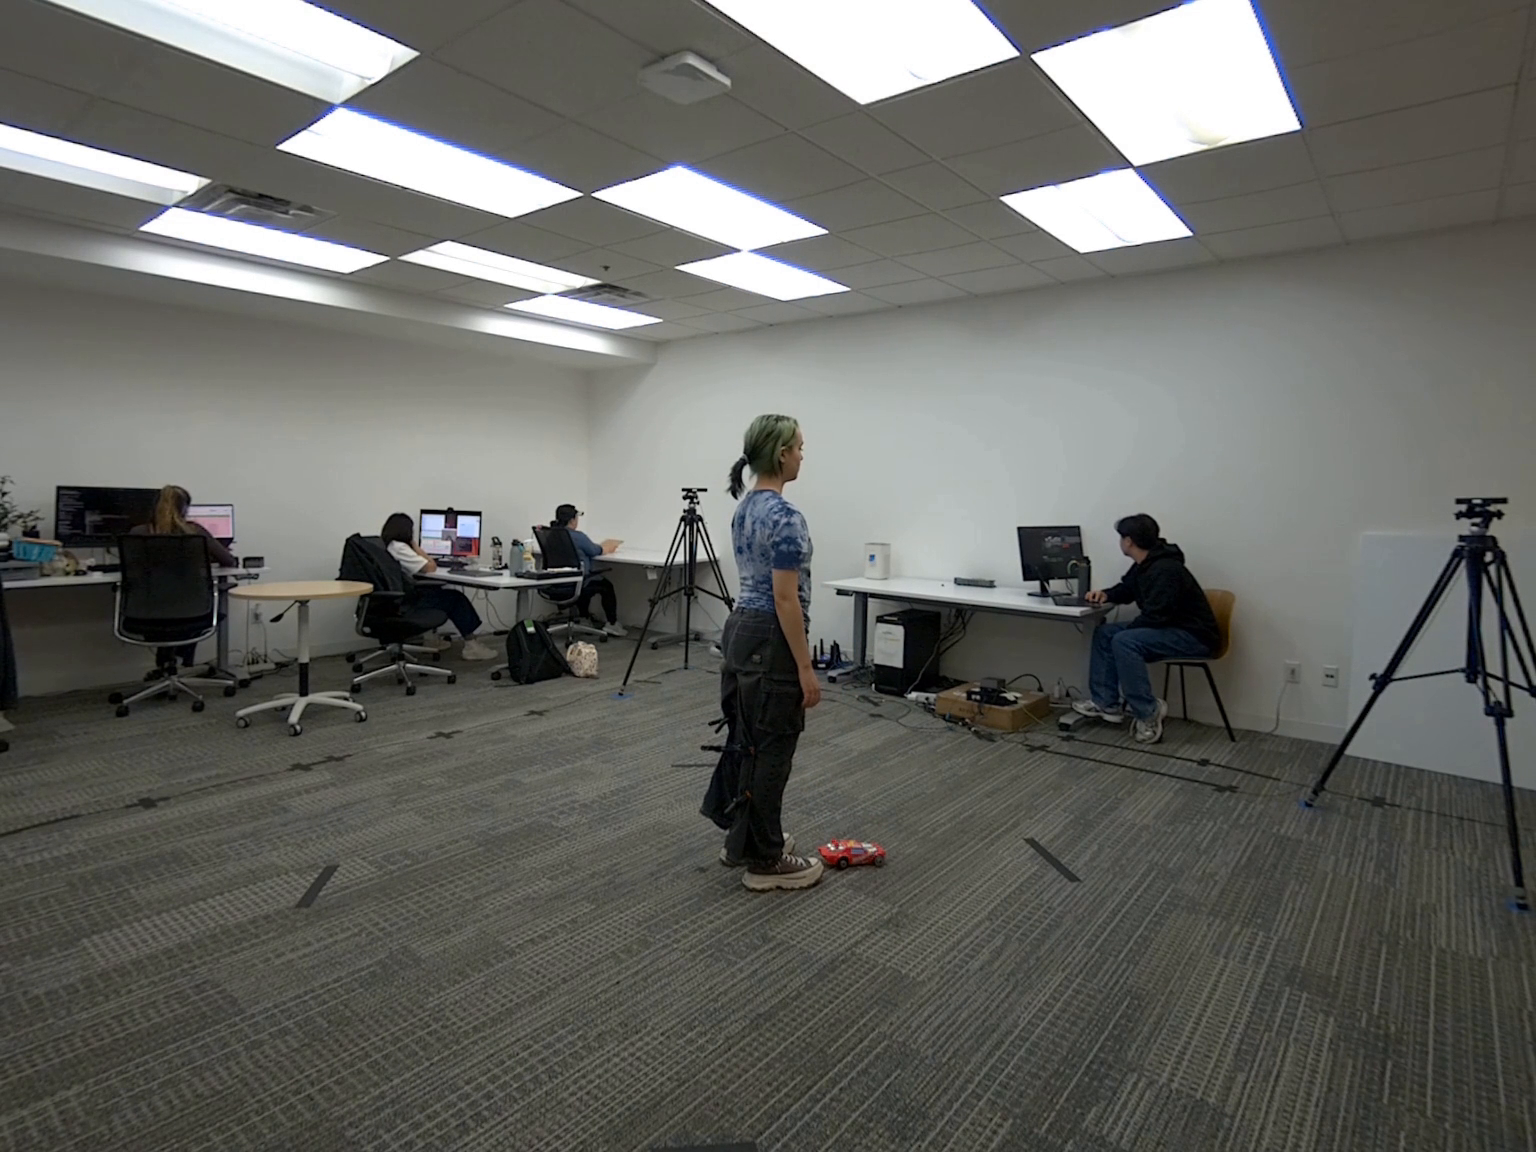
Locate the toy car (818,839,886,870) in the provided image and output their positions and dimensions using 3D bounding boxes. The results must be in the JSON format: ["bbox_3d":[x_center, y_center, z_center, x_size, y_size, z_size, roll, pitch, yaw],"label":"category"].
[{"bbox_3d":[0.305,1.042,3.190,0.250,0.083,0.133,9,3,-15],"label":"toy car"}]
